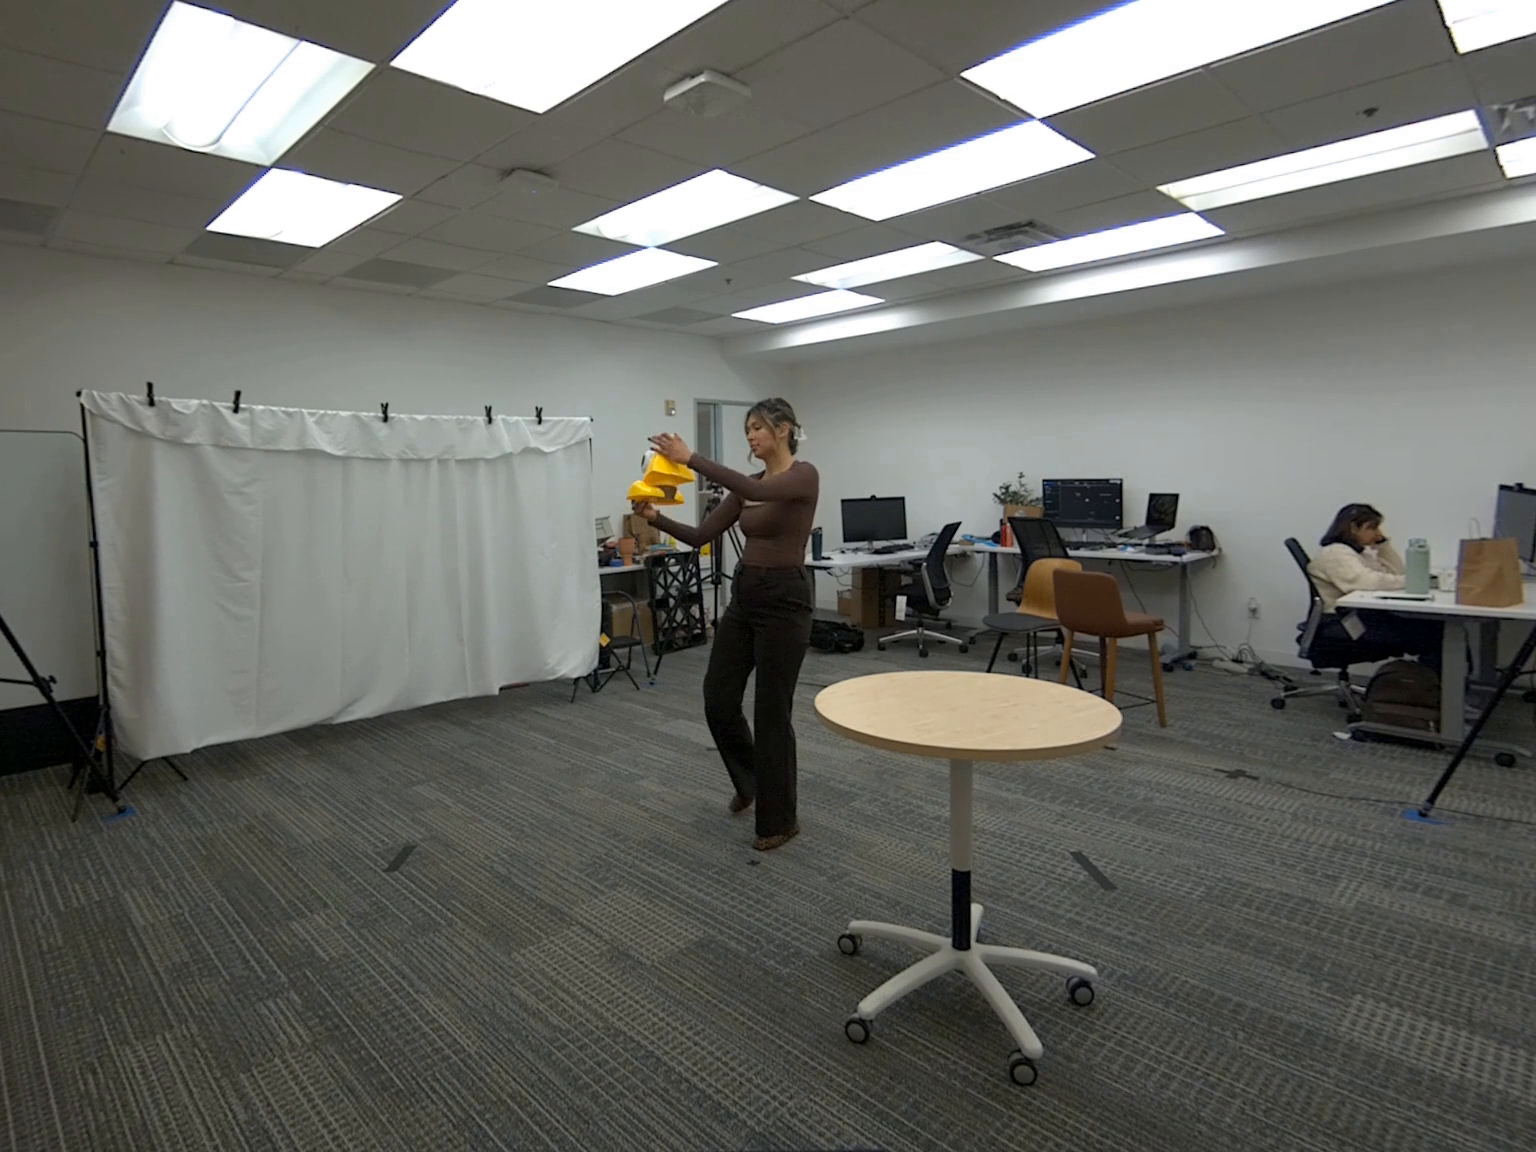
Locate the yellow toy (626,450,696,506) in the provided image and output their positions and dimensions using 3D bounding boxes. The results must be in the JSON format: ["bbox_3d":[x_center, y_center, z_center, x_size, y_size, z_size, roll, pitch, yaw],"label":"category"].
[{"bbox_3d":[-0.390,-0.381,3.043,0.198,0.232,0.198,-4,-10,43],"label":"yellow toy"}]
